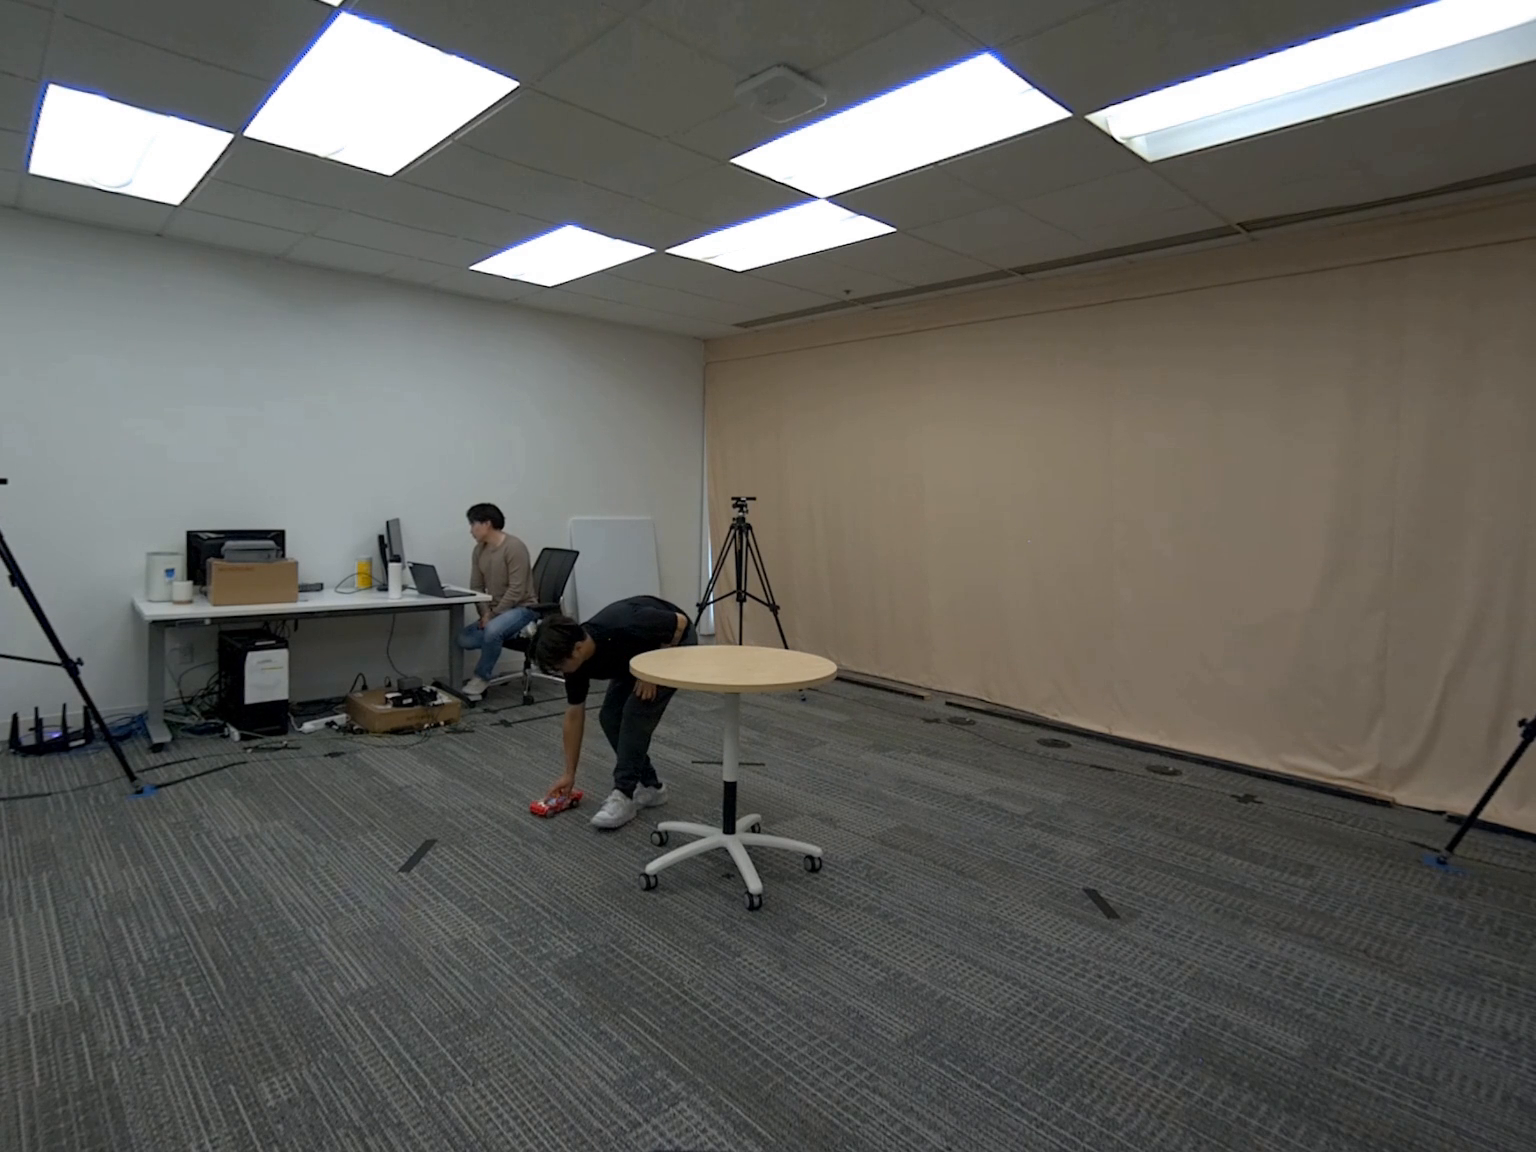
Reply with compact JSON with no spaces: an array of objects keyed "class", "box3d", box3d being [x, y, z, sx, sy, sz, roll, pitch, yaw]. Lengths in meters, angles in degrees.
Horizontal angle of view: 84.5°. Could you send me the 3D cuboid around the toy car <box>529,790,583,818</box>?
[{"class":"toy car","box3d":[-0.934,1.001,3.726,0.133,0.082,0.251,1,15,34]}]
